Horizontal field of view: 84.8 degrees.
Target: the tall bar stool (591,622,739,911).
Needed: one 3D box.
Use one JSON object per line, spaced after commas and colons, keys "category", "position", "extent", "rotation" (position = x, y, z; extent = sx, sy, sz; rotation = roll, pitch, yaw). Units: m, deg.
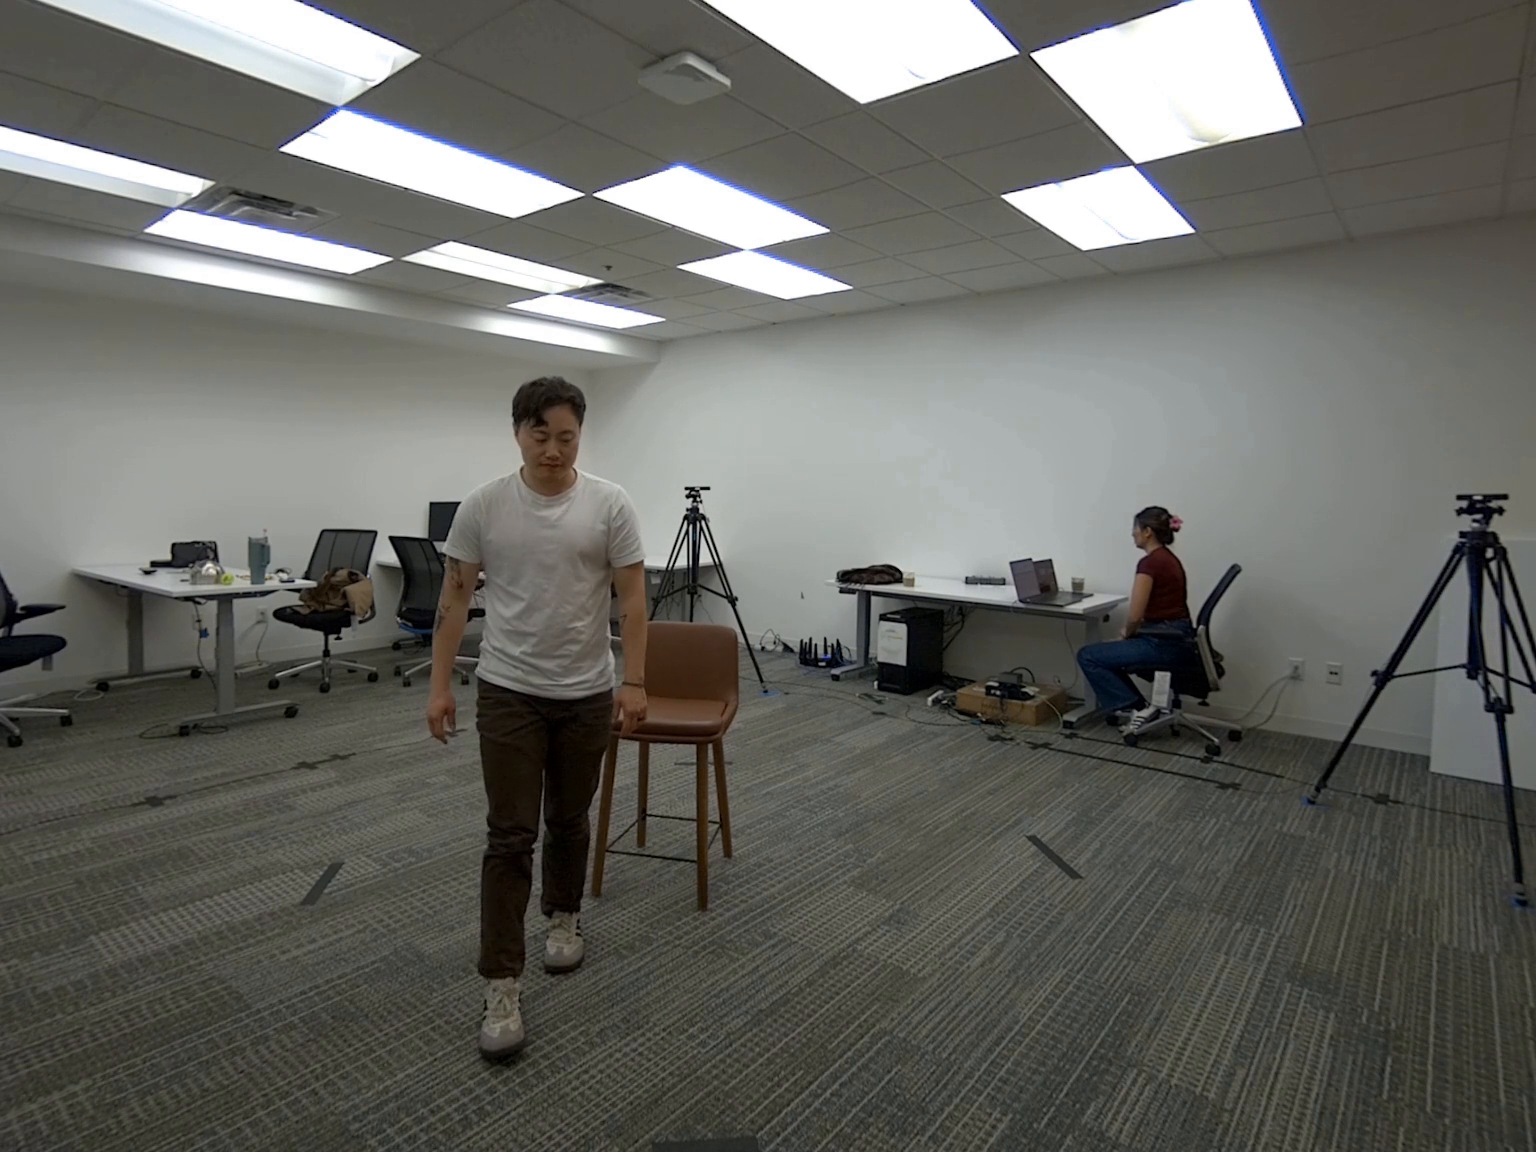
{"category": "tall bar stool", "position": [-0.360, 0.636, 3.032], "extent": [0.464, 0.888, 0.461], "rotation": [2, 2, 14]}
